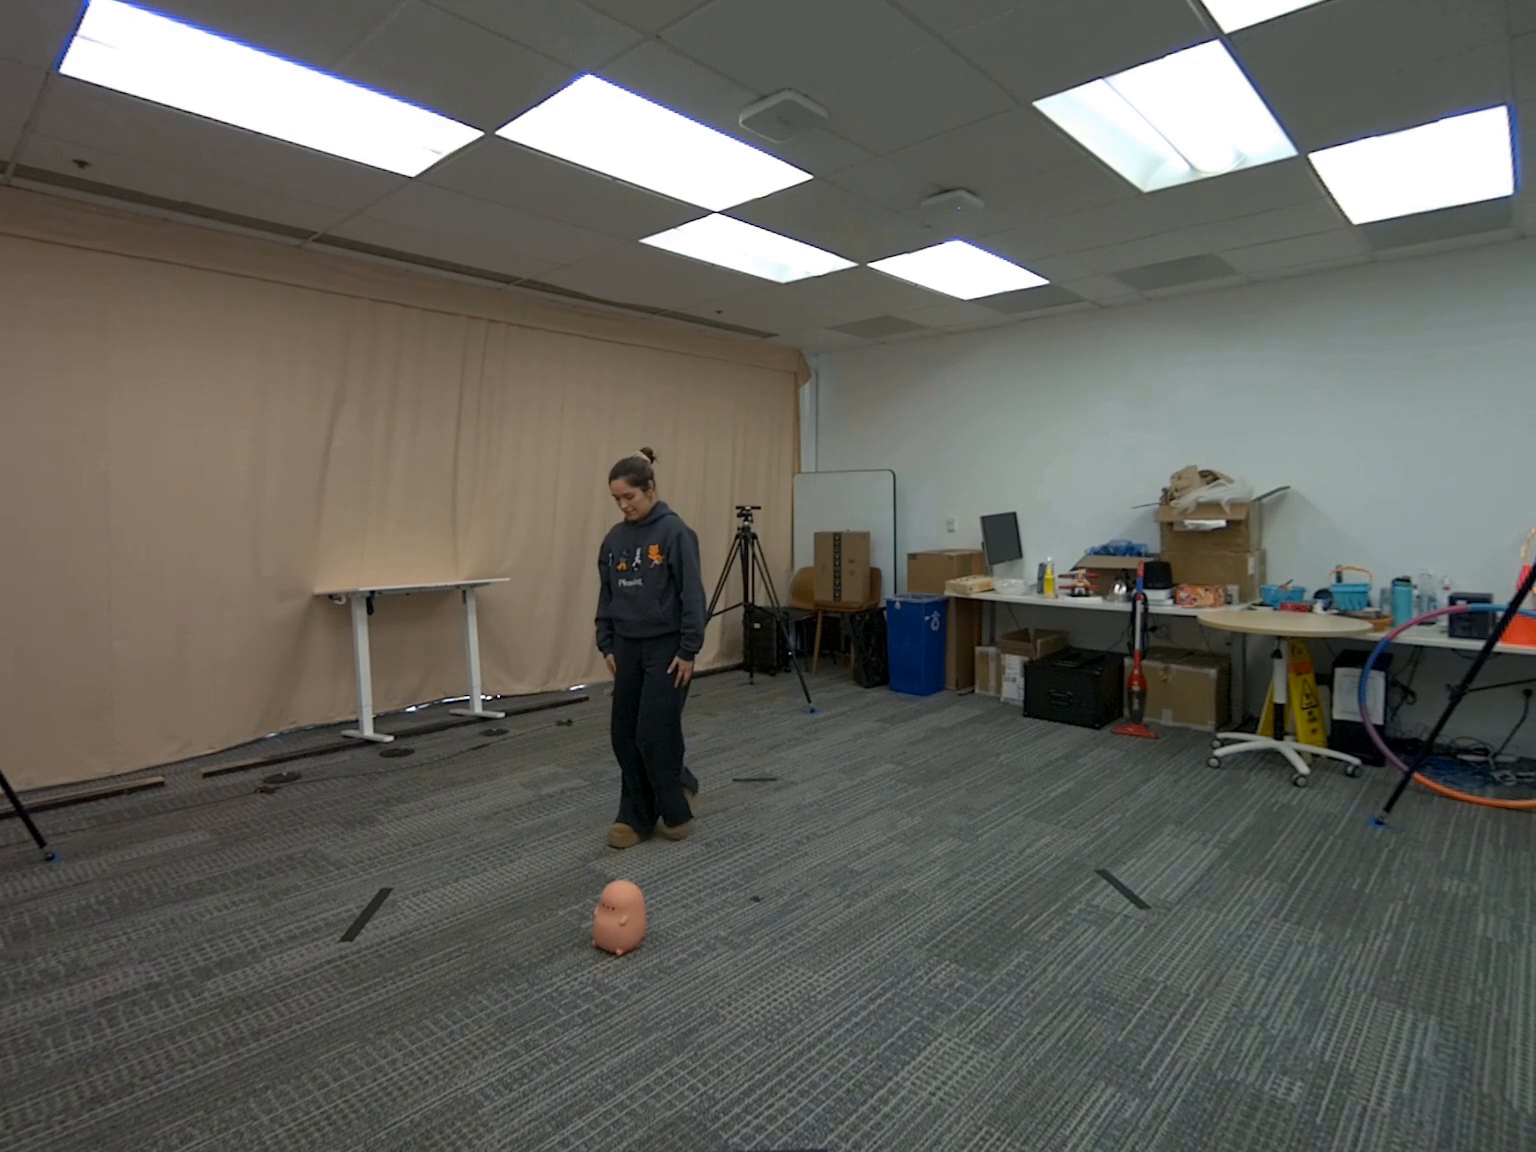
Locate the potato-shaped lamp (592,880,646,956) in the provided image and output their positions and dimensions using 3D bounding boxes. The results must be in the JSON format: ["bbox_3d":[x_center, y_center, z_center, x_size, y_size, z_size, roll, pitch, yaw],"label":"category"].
[{"bbox_3d":[-0.454,1.068,2.682,0.170,0.198,0.166,1,4,35],"label":"potato-shaped lamp"}]
